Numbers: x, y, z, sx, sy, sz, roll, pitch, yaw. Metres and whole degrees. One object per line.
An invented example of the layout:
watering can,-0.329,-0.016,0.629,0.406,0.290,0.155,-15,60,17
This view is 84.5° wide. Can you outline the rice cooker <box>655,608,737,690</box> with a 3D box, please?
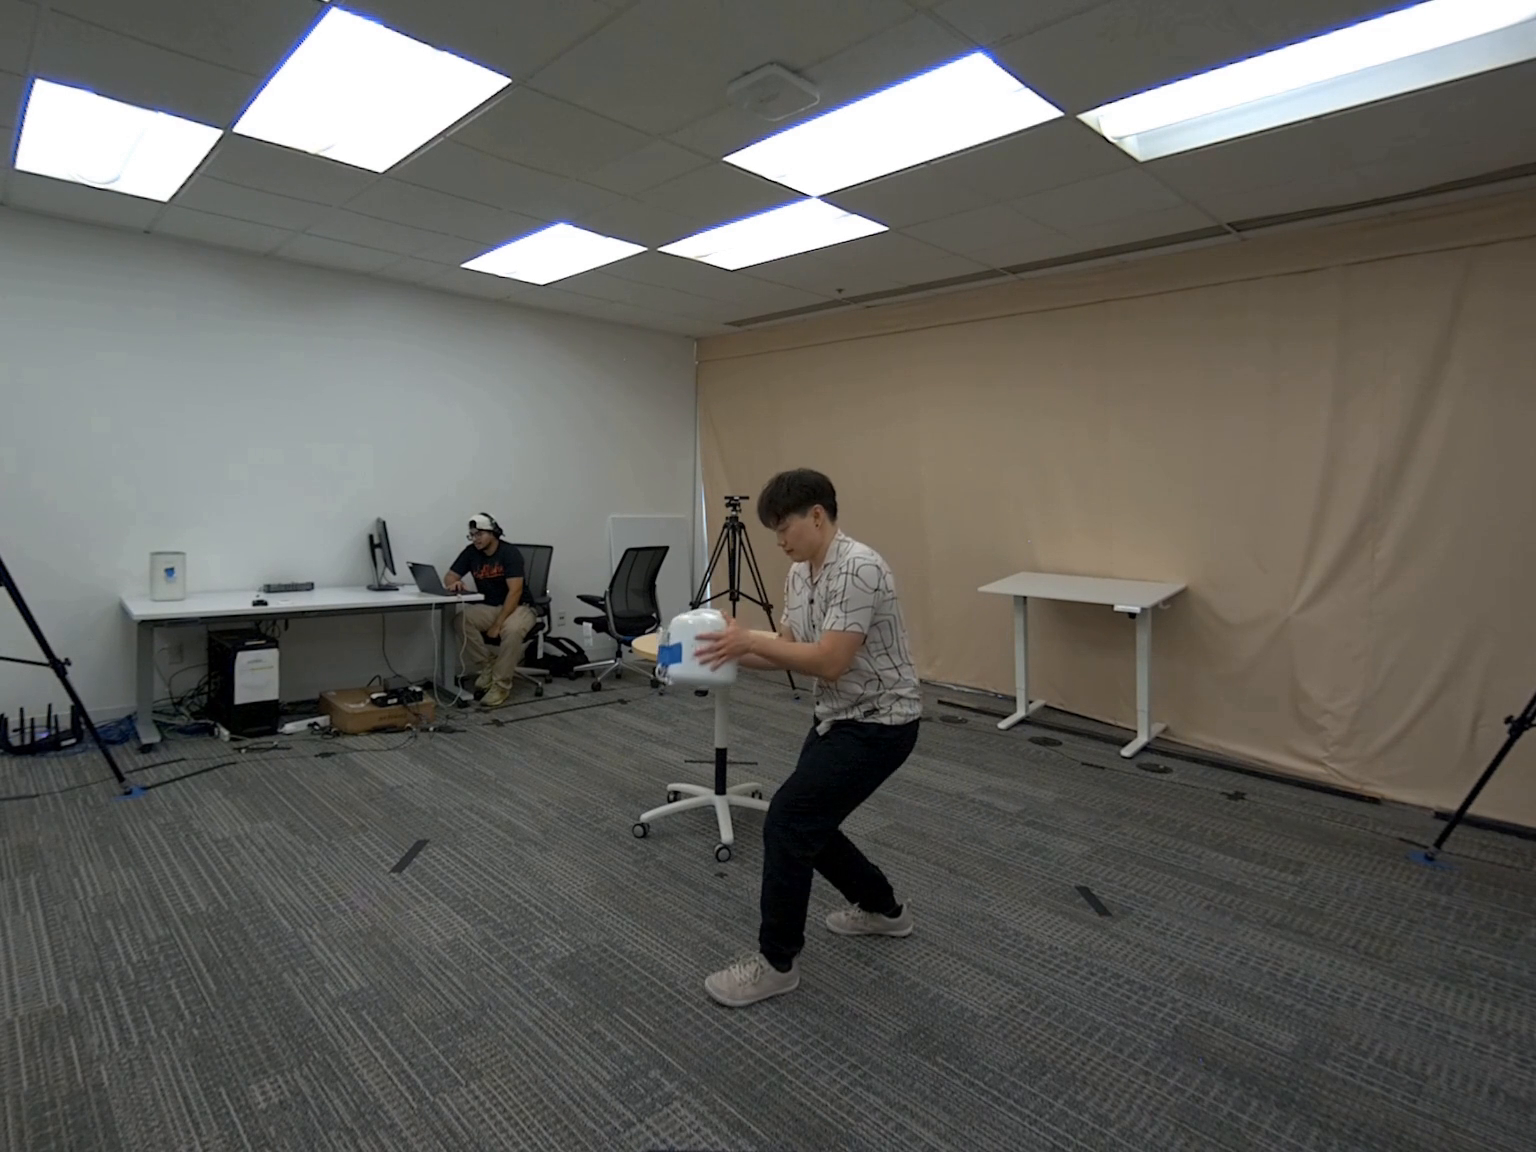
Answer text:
rice cooker,-0.191,0.215,2.448,0.225,0.235,0.212,-3,-13,27
